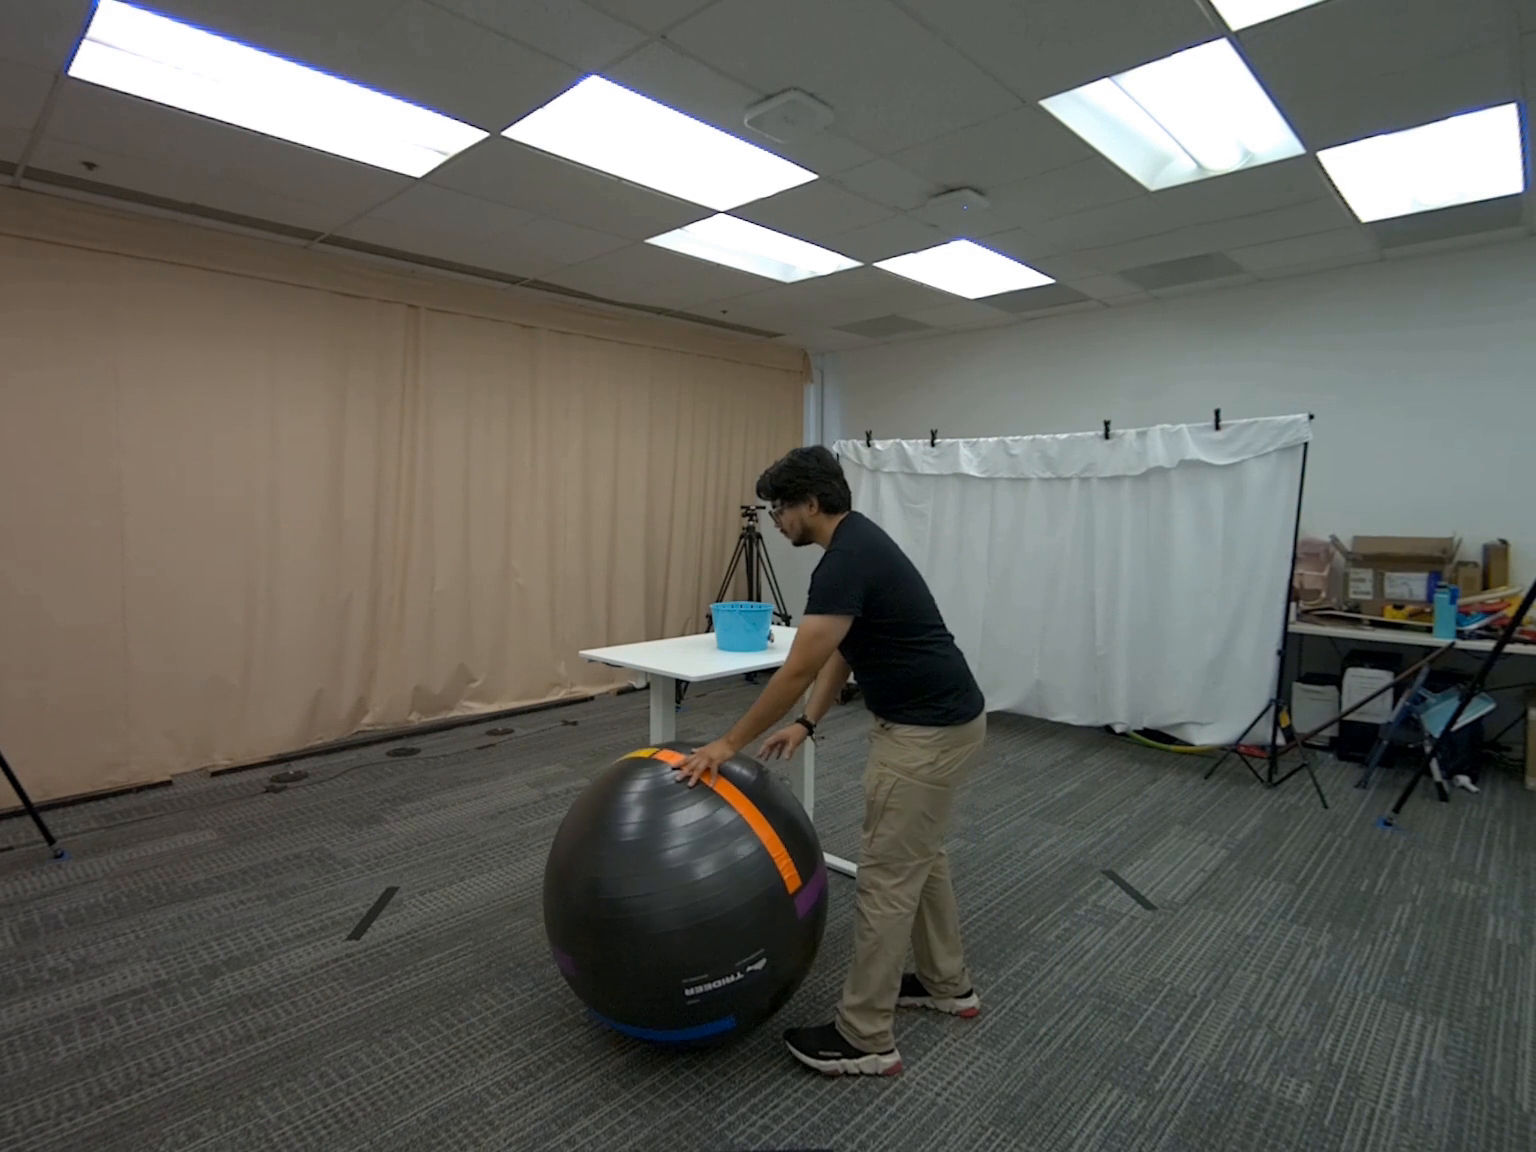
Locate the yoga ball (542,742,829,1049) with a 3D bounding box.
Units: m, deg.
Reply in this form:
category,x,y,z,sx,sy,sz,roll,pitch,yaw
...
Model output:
category,x,y,z,sx,sy,sz,roll,pitch,yaw
yoga ball,-0.219,0.850,2.252,0.757,0.756,0.760,0,4,-2
